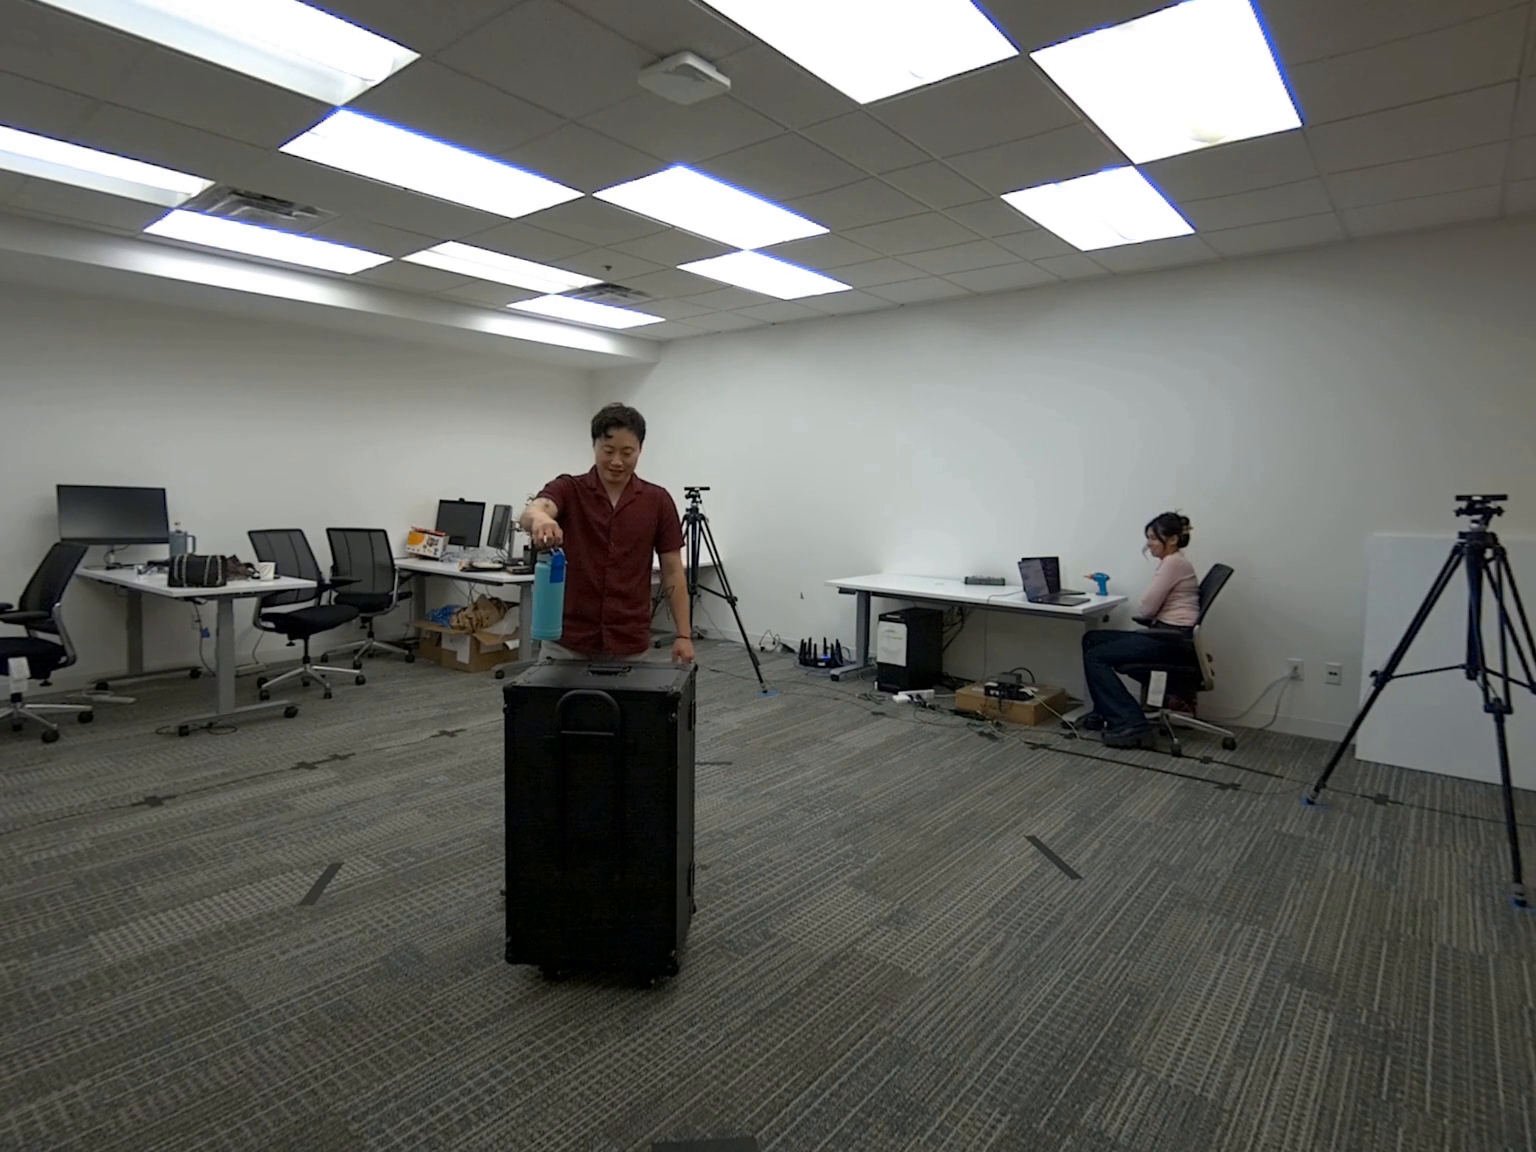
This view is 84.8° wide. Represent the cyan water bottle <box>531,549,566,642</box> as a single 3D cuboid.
[{"bbox_3d":[-0.669,0.043,2.526,0.092,0.282,0.093,5,5,-2],"label":"cyan water bottle"}]
